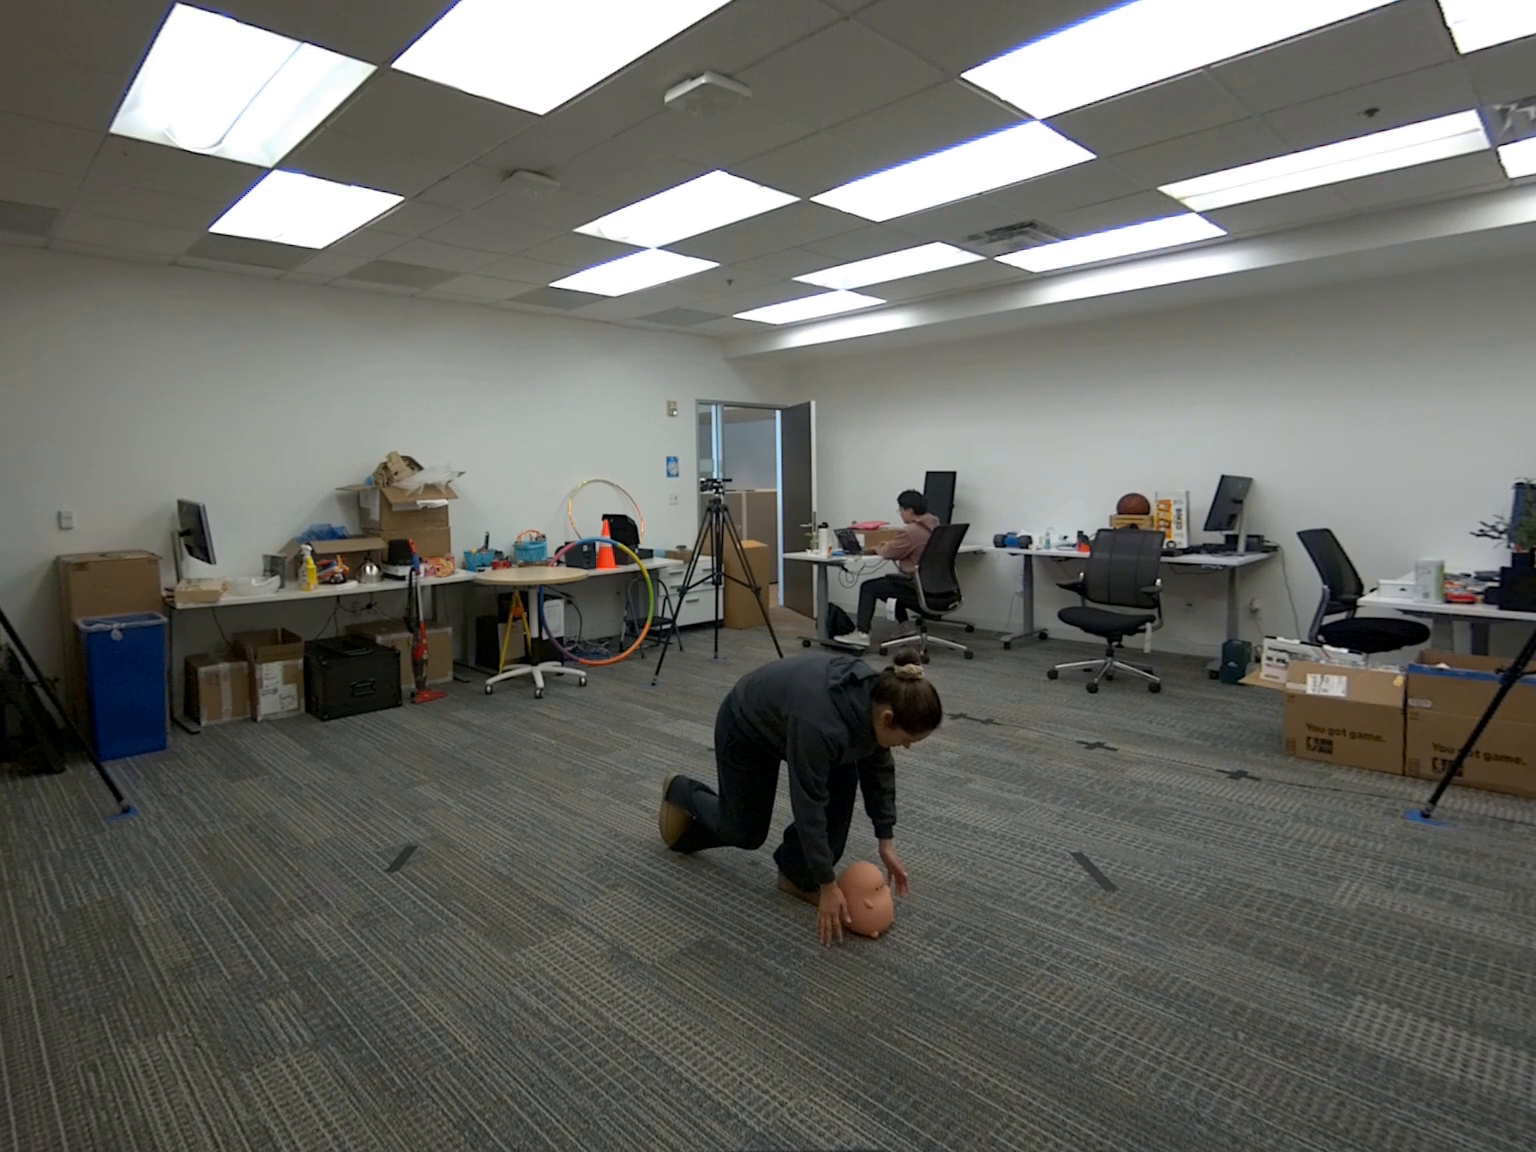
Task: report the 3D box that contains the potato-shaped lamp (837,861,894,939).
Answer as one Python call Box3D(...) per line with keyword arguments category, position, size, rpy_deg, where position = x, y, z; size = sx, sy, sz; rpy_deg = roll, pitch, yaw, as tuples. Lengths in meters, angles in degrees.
Box3D(category="potato-shaped lamp", position=(0.304, 0.989, 2.639), size=(0.176, 0.198, 0.160), rpy_deg=(-4, -2, 36))
